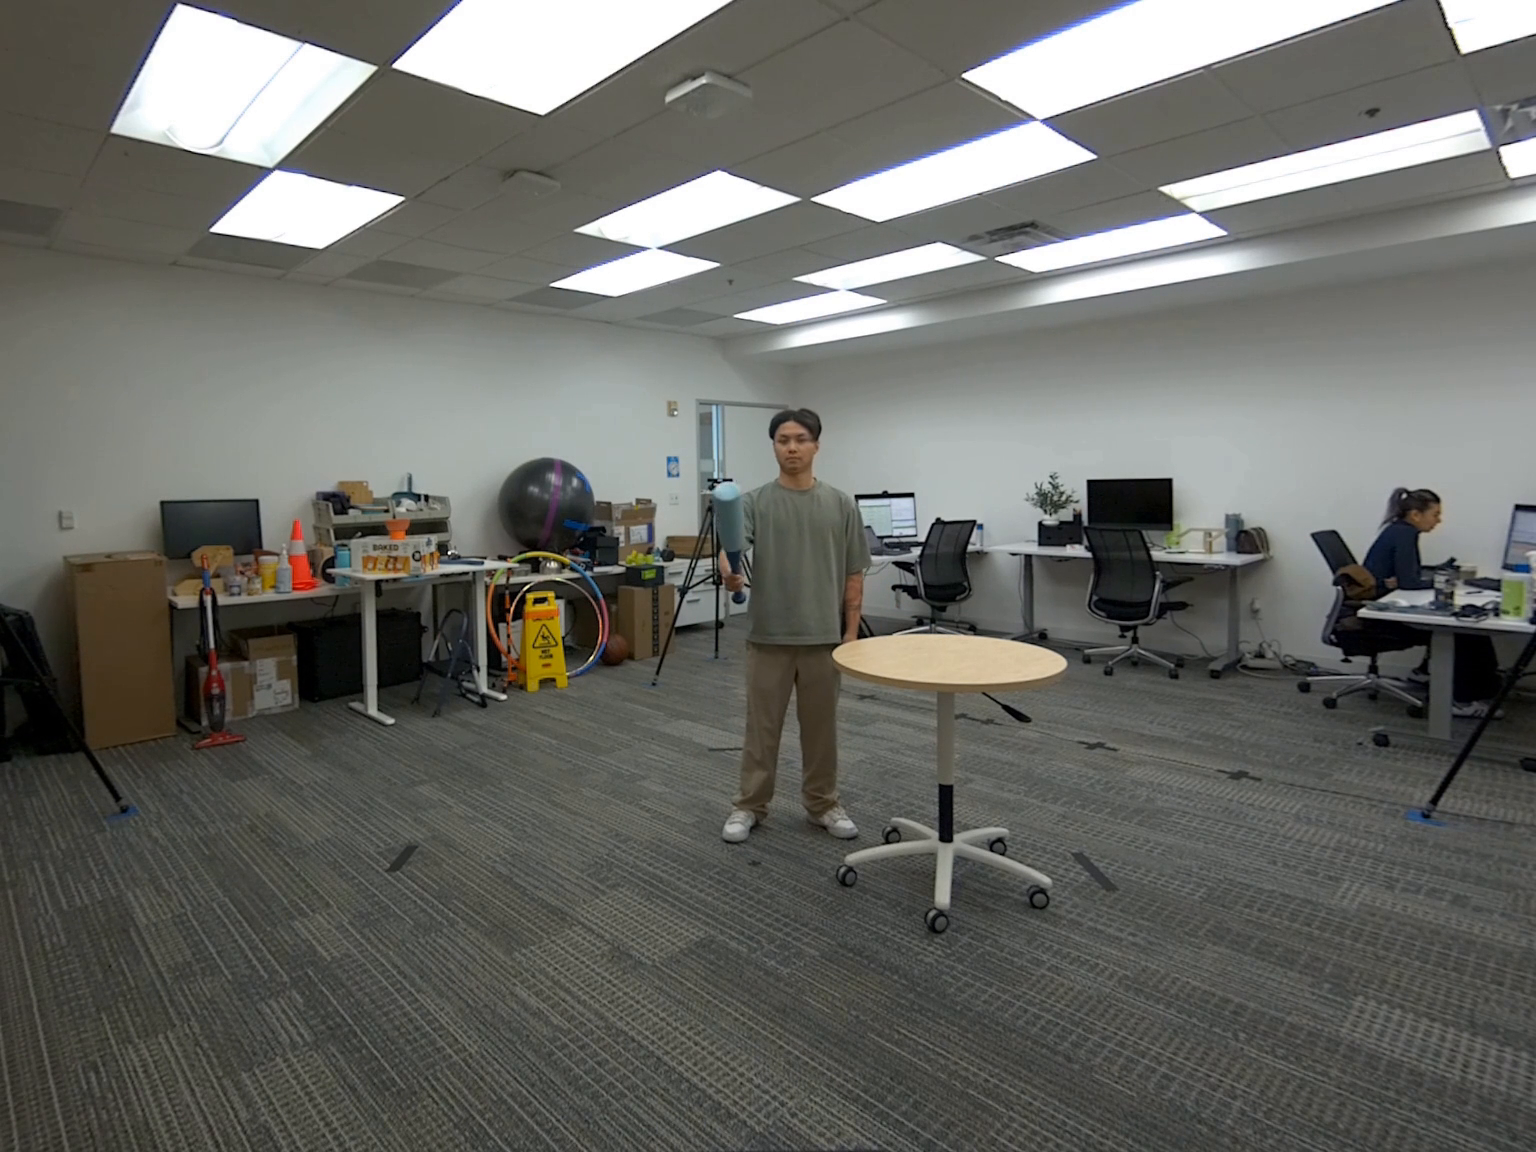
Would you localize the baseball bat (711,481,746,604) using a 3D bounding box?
[{"bbox_3d":[-0.104,-0.076,2.733,0.089,0.091,0.527,-3,-40,1],"label":"baseball bat"}]
